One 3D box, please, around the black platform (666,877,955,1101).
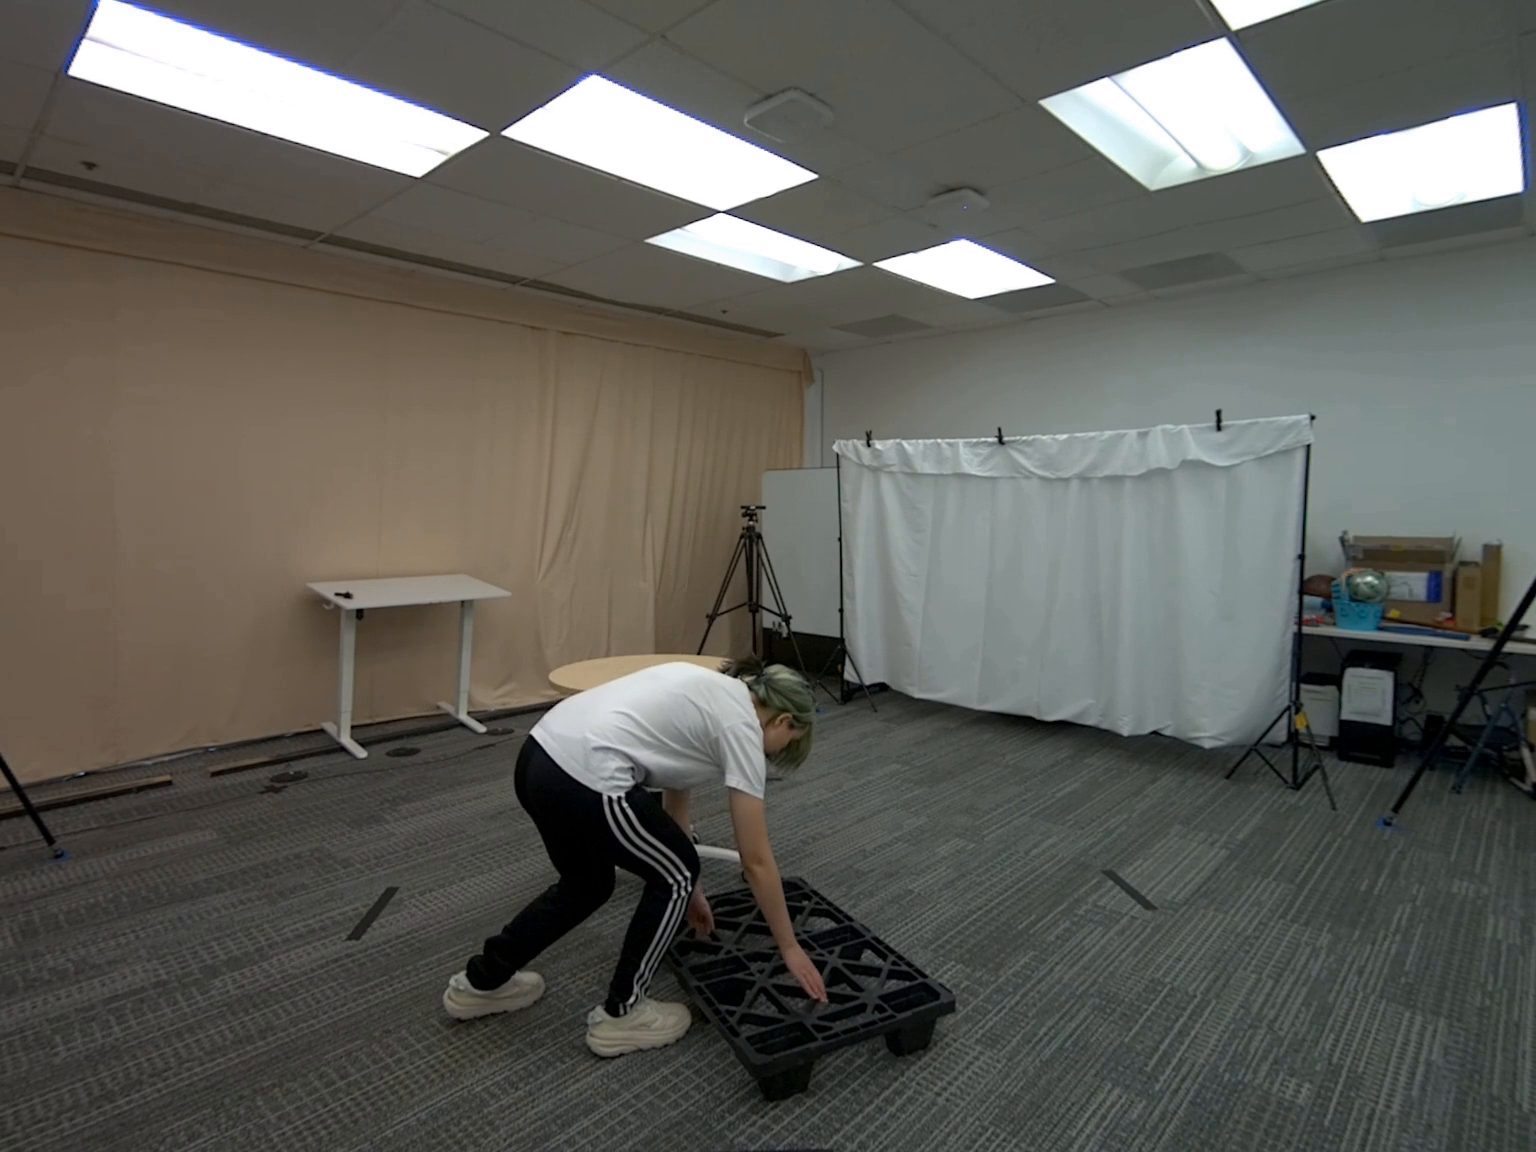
[{"bbox_3d":[0.038,1.126,2.382,0.590,0.143,0.828,-4,5,-28],"label":"black platform"}]
